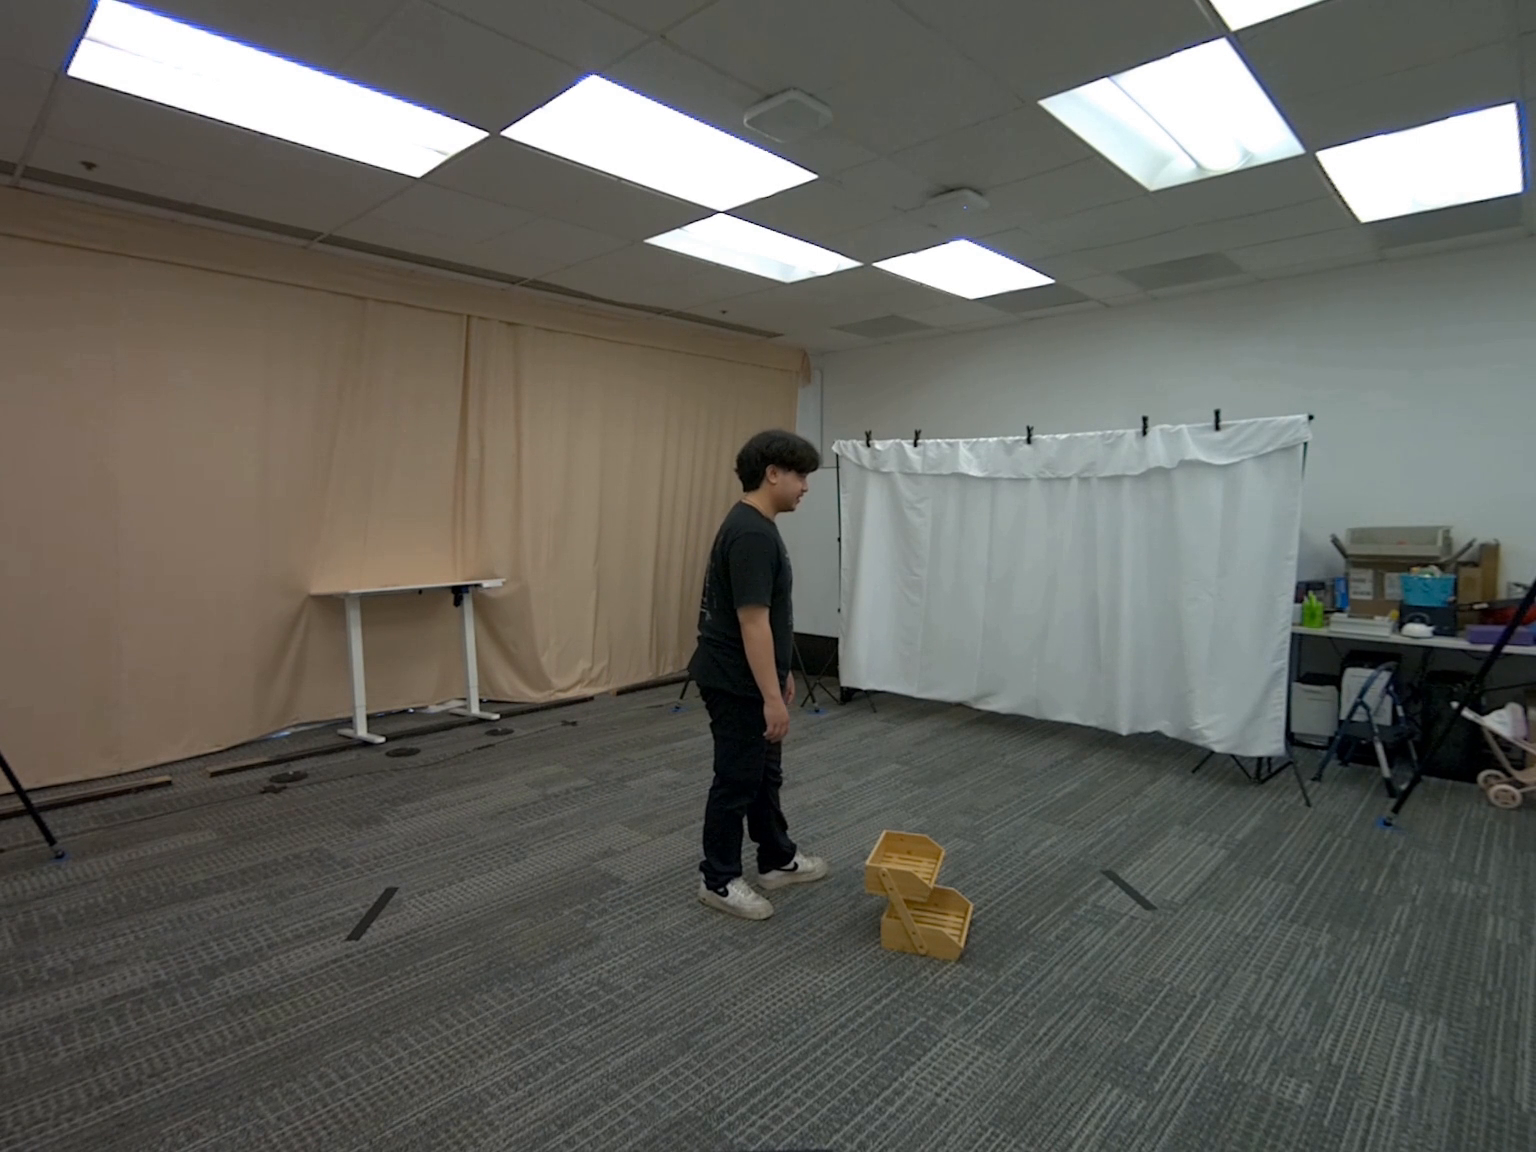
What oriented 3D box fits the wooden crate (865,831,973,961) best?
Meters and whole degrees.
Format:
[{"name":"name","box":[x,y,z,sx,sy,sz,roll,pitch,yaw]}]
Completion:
[{"name":"wooden crate","box":[0.508,1.031,2.743,0.309,0.273,0.318,1,4,20]}]
